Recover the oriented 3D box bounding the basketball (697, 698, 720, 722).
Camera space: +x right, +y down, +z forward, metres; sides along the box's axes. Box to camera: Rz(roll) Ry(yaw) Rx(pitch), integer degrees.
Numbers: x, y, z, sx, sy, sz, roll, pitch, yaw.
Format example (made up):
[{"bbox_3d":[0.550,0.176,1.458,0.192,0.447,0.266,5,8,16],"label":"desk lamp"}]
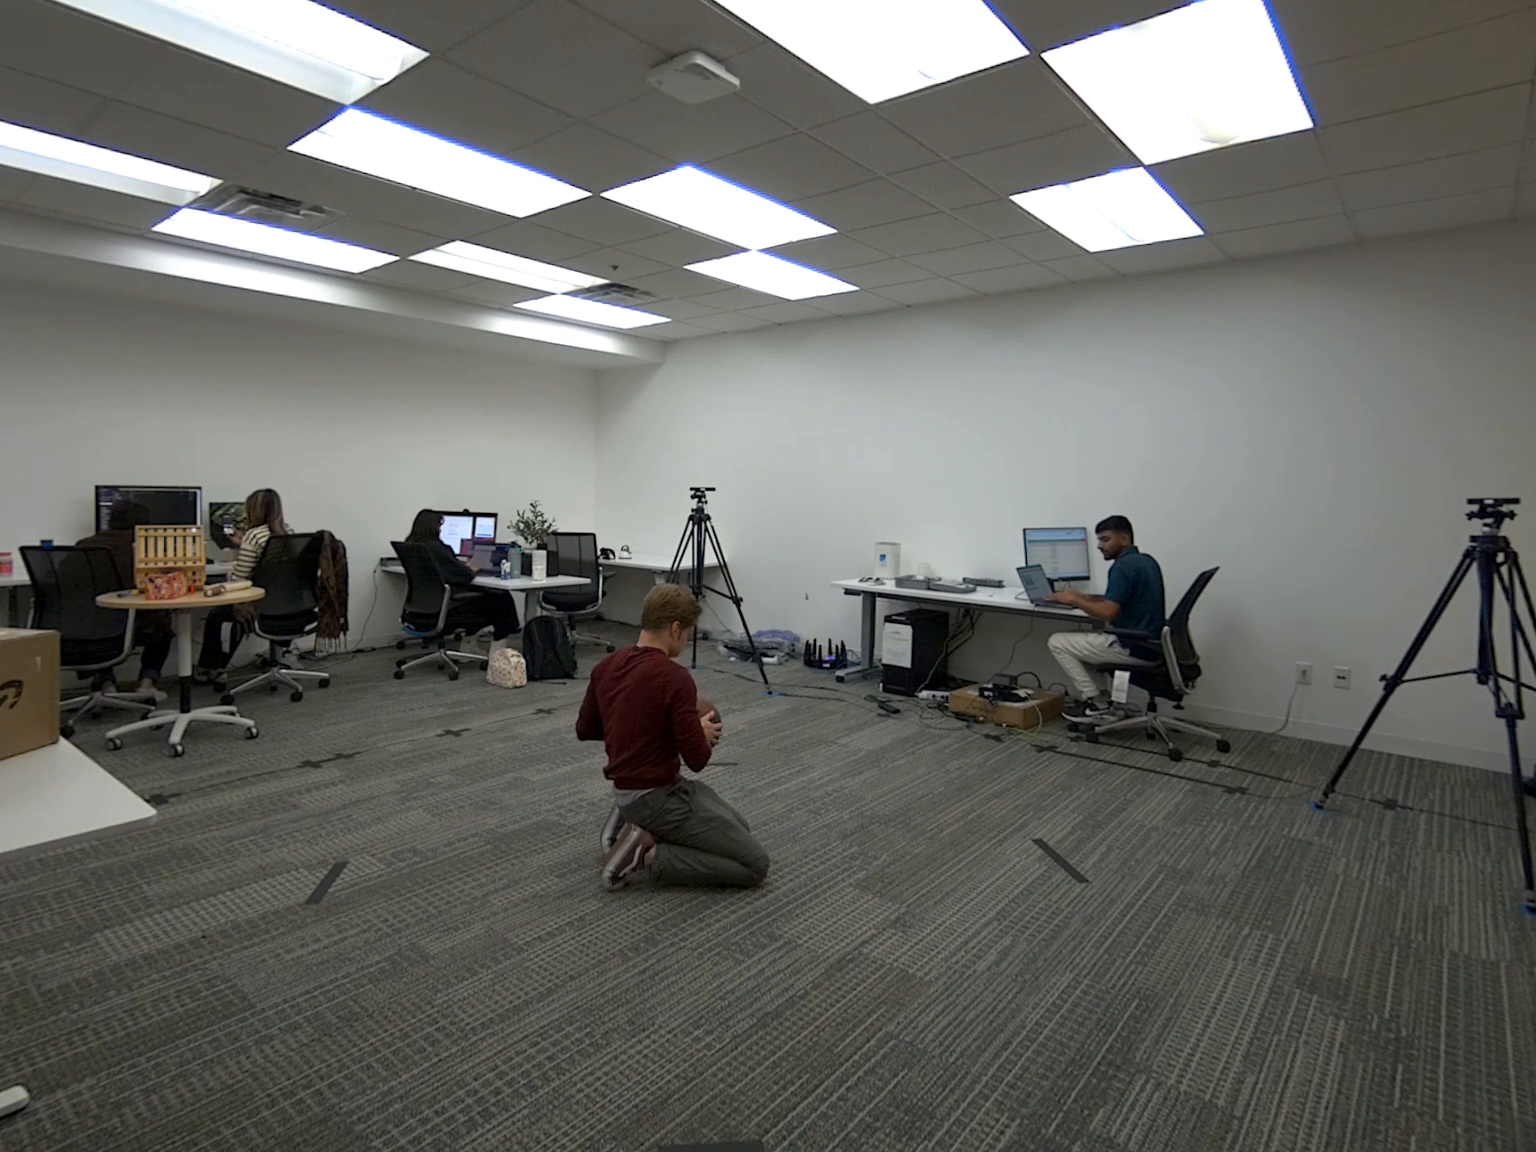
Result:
[{"bbox_3d":[-0.316,0.603,3.384,0.235,0.235,0.237,1,4,-2],"label":"basketball"}]
